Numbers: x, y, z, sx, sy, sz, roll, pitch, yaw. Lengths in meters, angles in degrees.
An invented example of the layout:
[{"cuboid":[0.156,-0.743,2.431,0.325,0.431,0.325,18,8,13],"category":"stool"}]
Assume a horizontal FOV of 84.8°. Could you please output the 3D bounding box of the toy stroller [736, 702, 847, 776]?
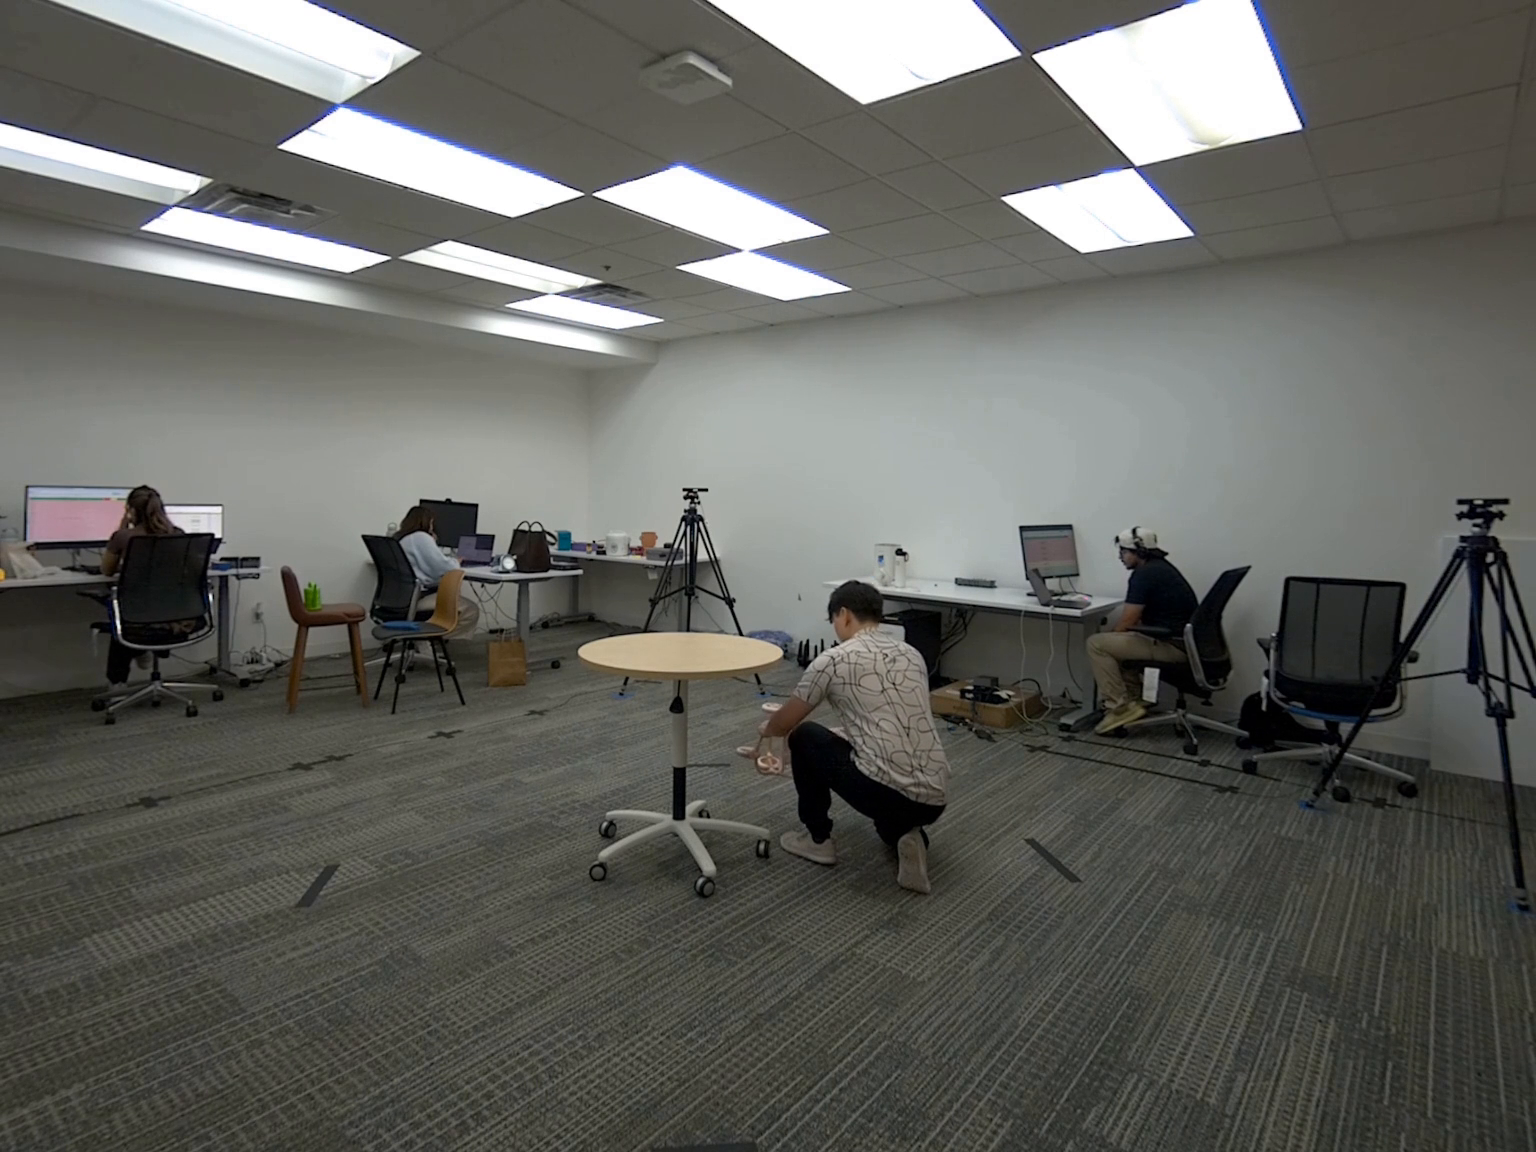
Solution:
[{"cuboid":[0.143,0.718,3.557,0.541,0.280,0.339,8,5,9],"category":"toy stroller"}]
